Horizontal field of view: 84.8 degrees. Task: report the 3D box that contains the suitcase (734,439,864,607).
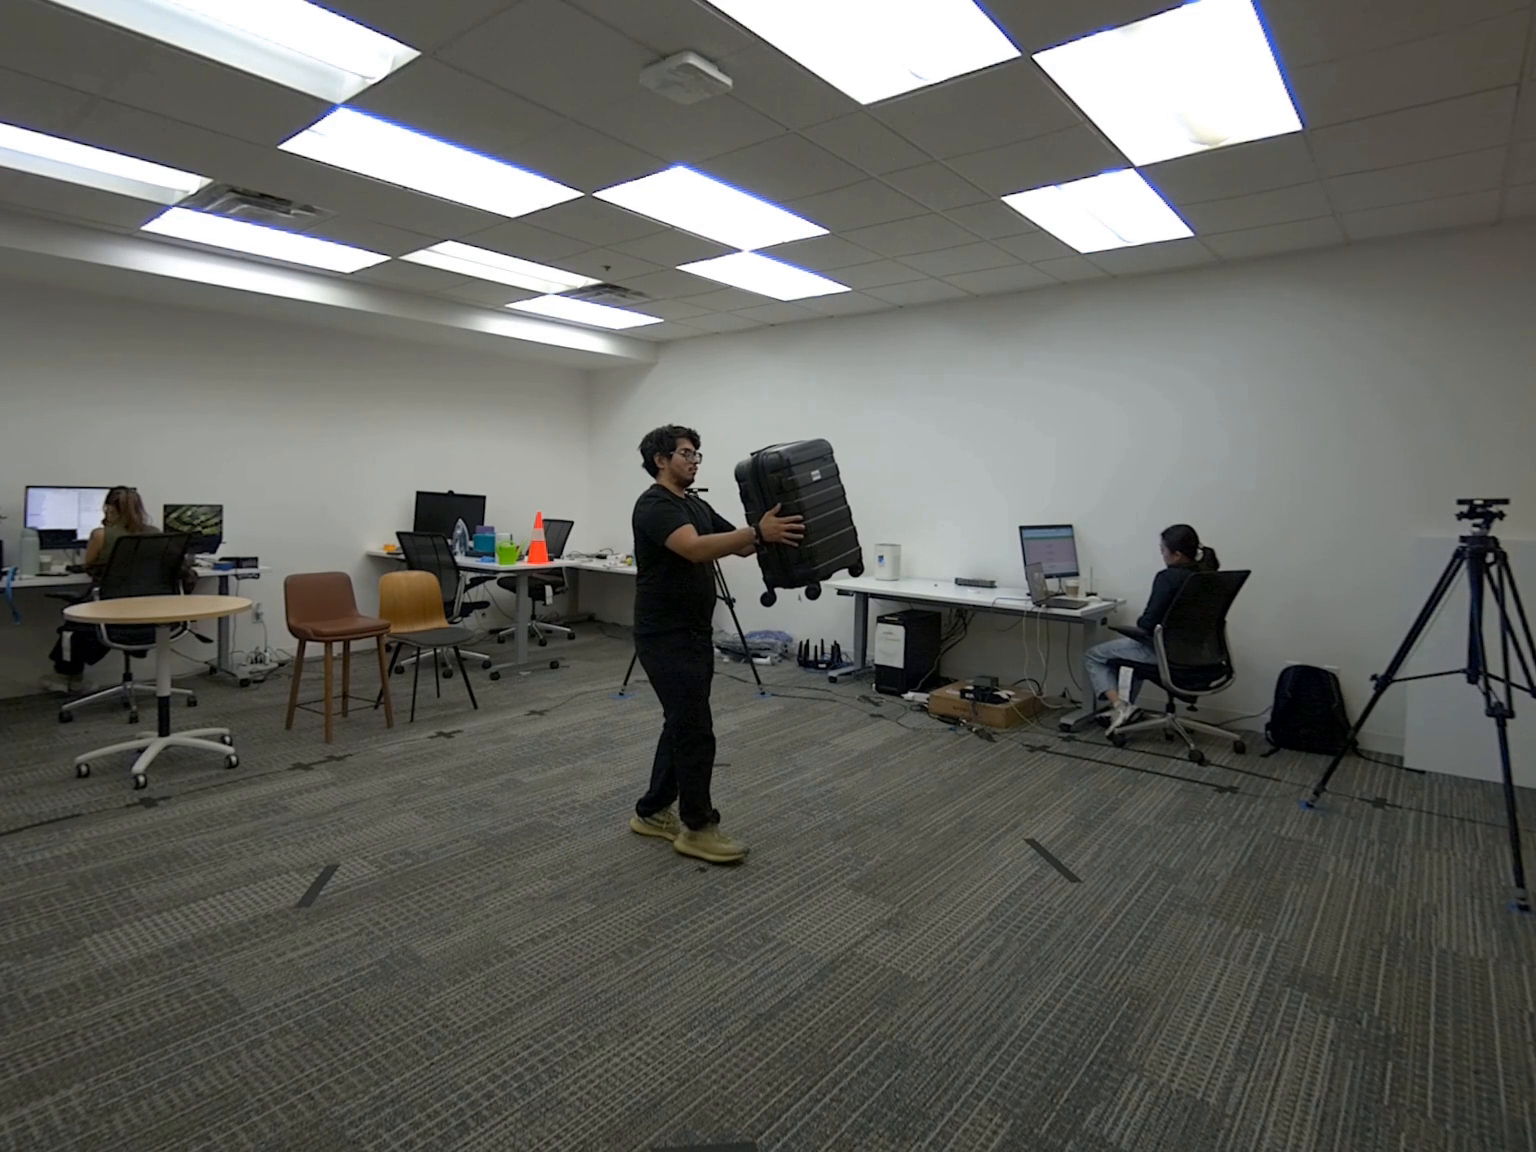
[{"bbox_3d":[0.108,-0.217,3.095,0.254,0.547,0.368,-11,5,41],"label":"suitcase"}]
